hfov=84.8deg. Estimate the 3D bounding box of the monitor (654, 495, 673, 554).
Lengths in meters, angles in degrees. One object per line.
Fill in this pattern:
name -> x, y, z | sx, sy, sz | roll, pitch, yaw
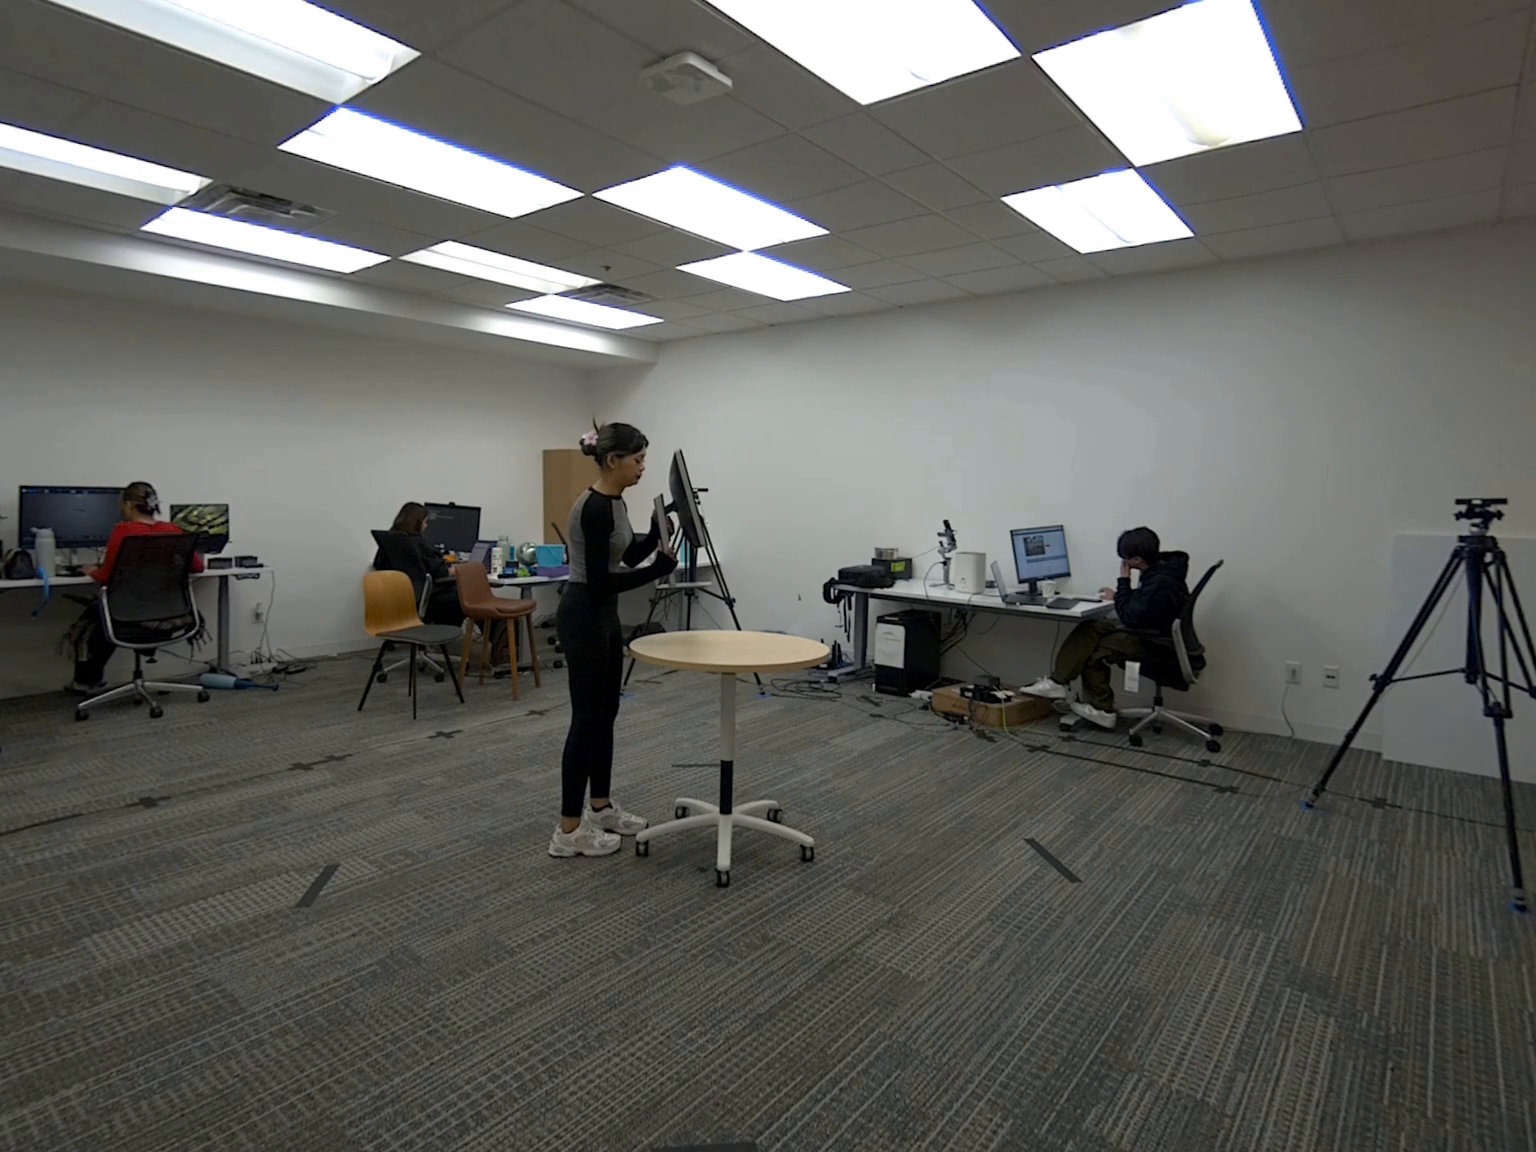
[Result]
monitor -> -0.356, -0.198, 3.307 | 0.185, 0.523, 0.543 | -2, 1, -9
